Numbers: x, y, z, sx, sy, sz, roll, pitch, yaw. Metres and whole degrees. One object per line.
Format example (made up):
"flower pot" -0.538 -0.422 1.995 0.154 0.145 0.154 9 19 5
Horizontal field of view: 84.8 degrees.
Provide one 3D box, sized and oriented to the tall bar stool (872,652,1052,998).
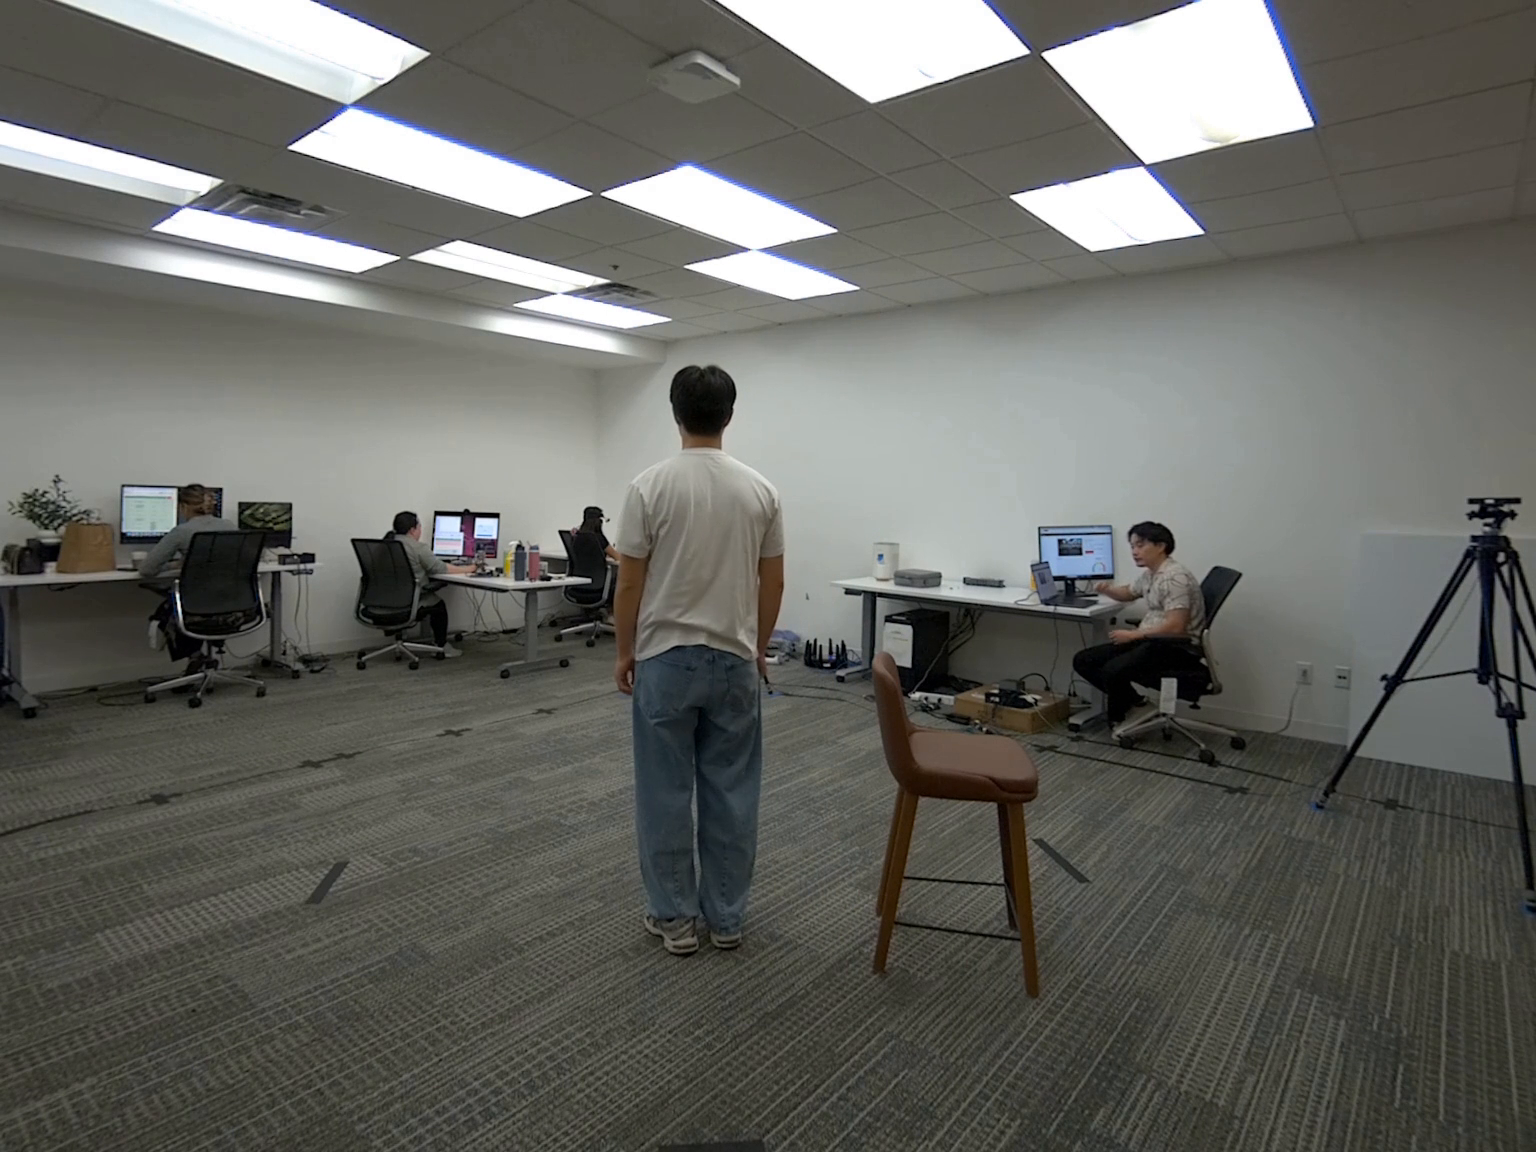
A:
"tall bar stool" 0.554 0.700 2.570 0.474 0.888 0.452 0 3 11
